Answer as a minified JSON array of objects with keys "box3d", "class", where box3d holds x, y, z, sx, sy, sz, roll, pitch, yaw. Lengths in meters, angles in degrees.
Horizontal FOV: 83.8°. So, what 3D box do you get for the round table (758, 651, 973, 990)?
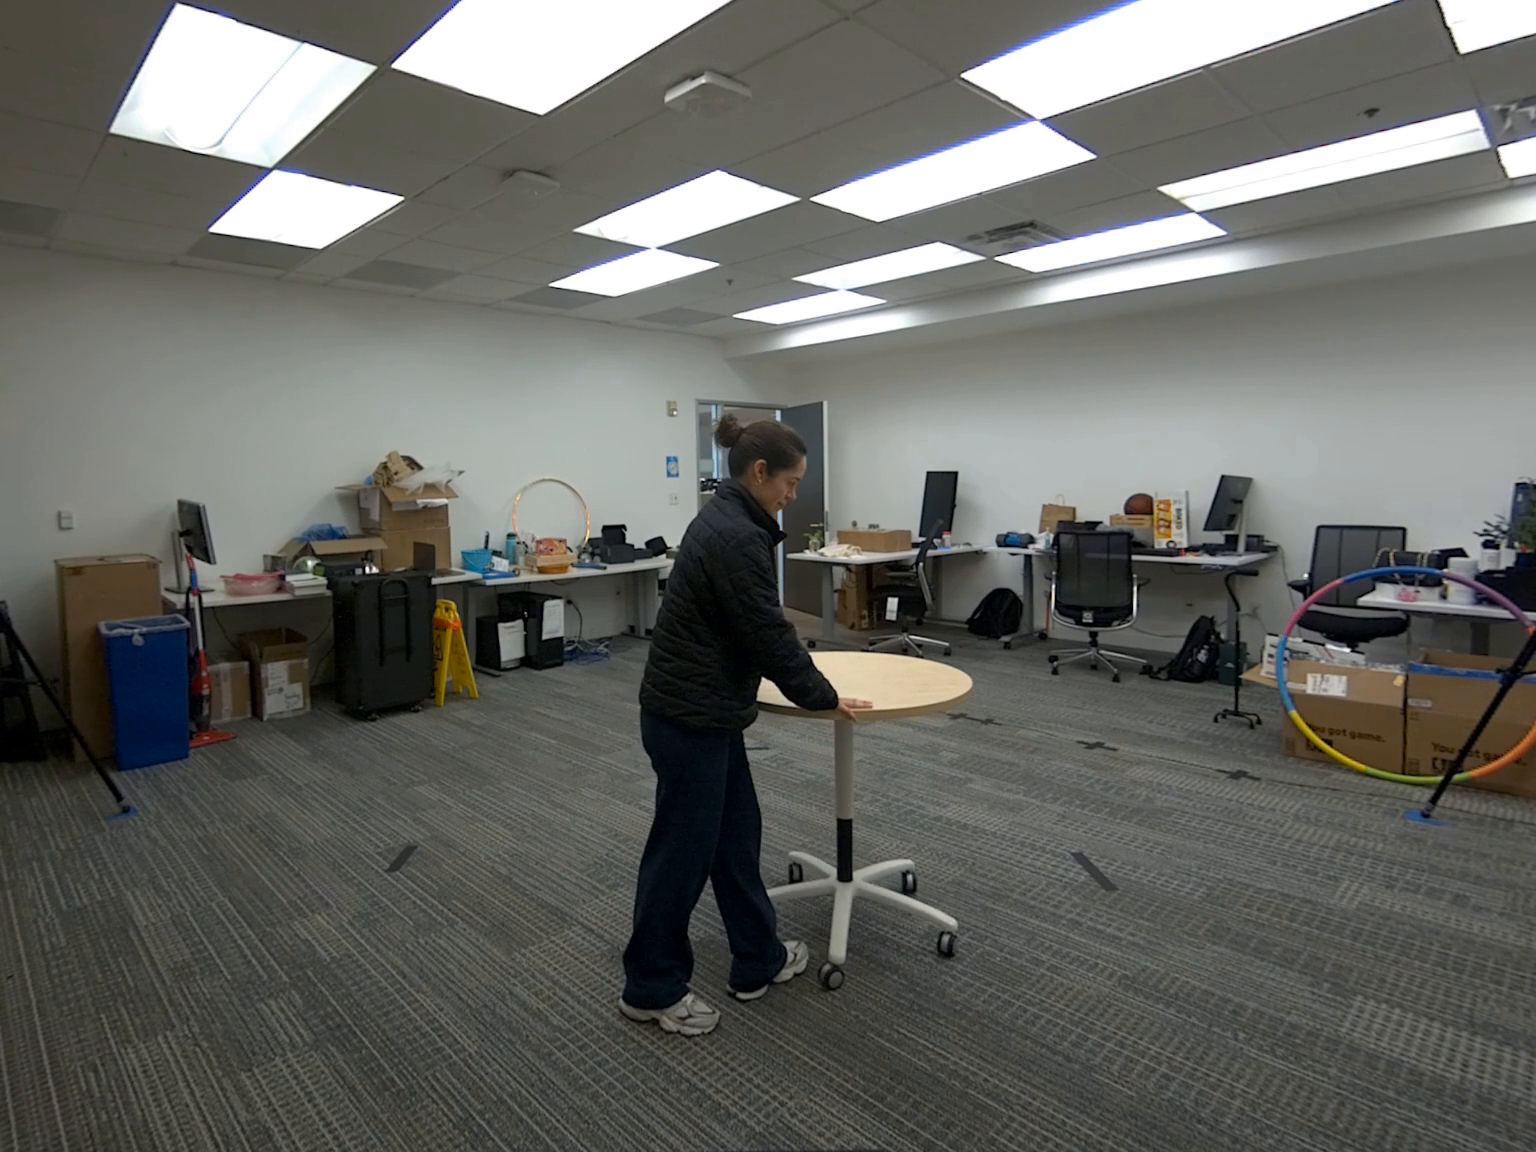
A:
[{"box3d":[0.235,0.698,2.662,0.784,0.783,0.789,-1,5,-2],"class":"round table"}]
